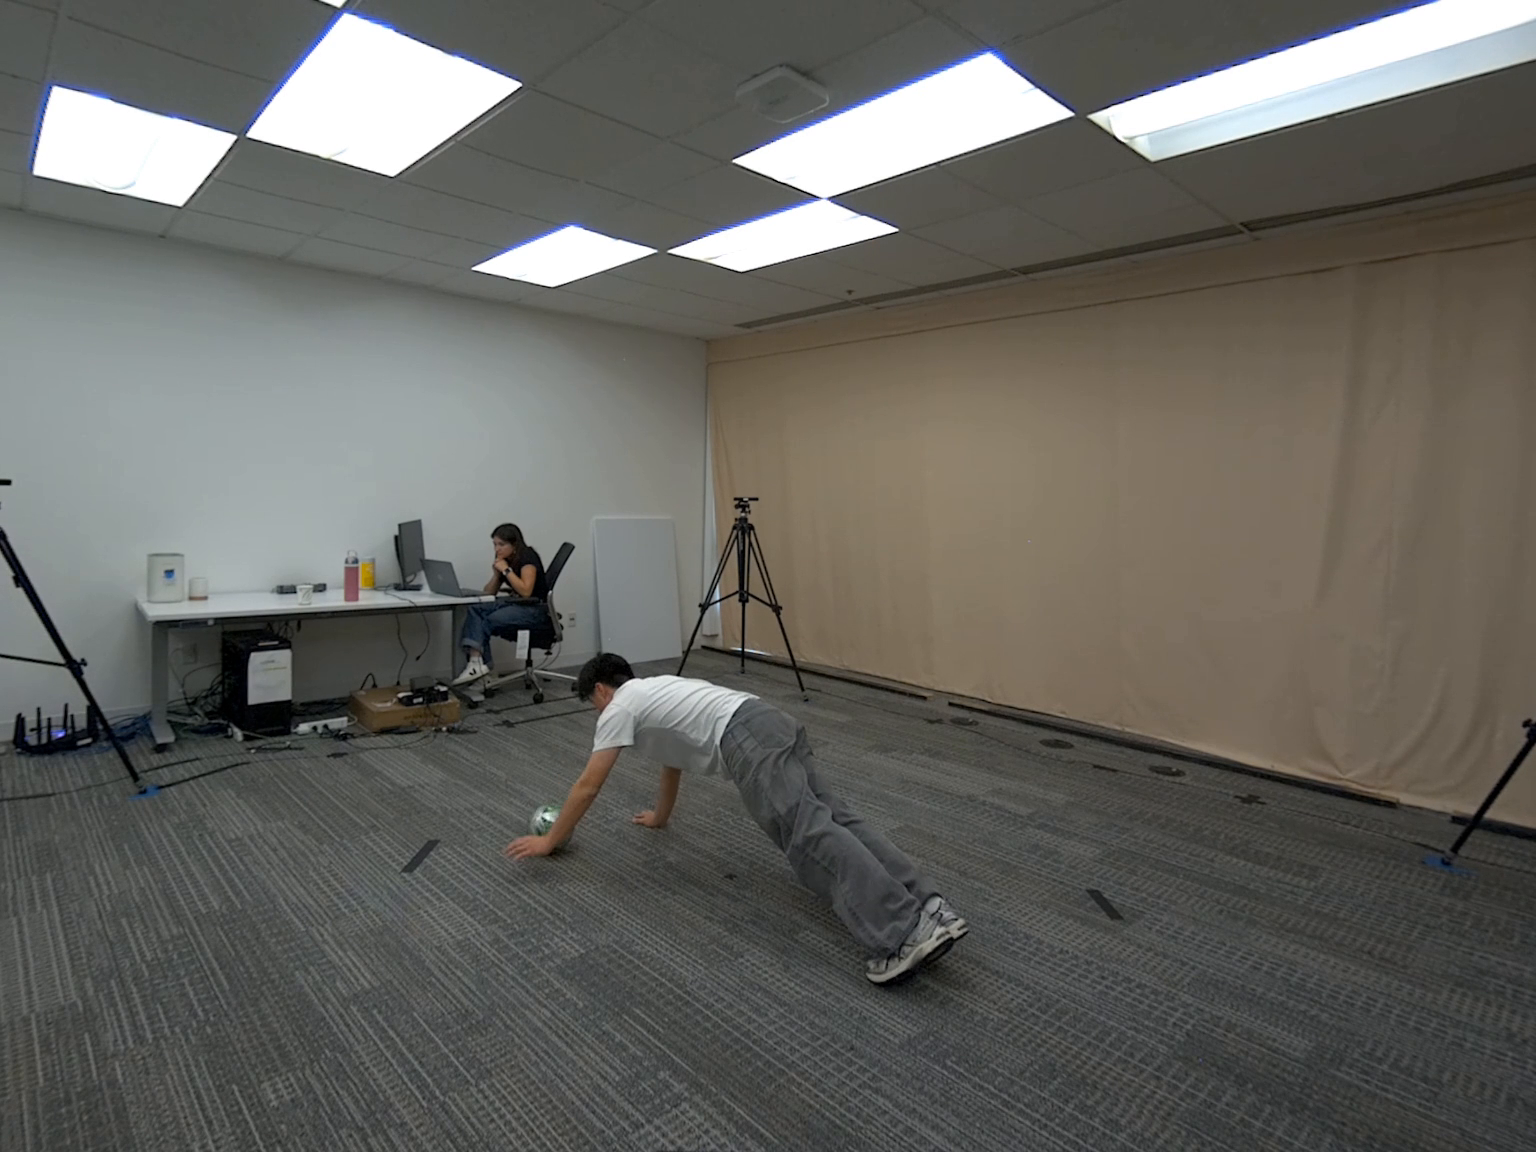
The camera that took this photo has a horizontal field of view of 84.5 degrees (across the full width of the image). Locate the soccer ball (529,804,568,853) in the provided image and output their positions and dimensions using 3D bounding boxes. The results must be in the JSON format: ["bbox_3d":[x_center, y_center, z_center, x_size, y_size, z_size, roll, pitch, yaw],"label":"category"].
[{"bbox_3d":[-0.849,0.977,3.282,0.187,0.187,0.188,1,4,-1],"label":"soccer ball"}]
